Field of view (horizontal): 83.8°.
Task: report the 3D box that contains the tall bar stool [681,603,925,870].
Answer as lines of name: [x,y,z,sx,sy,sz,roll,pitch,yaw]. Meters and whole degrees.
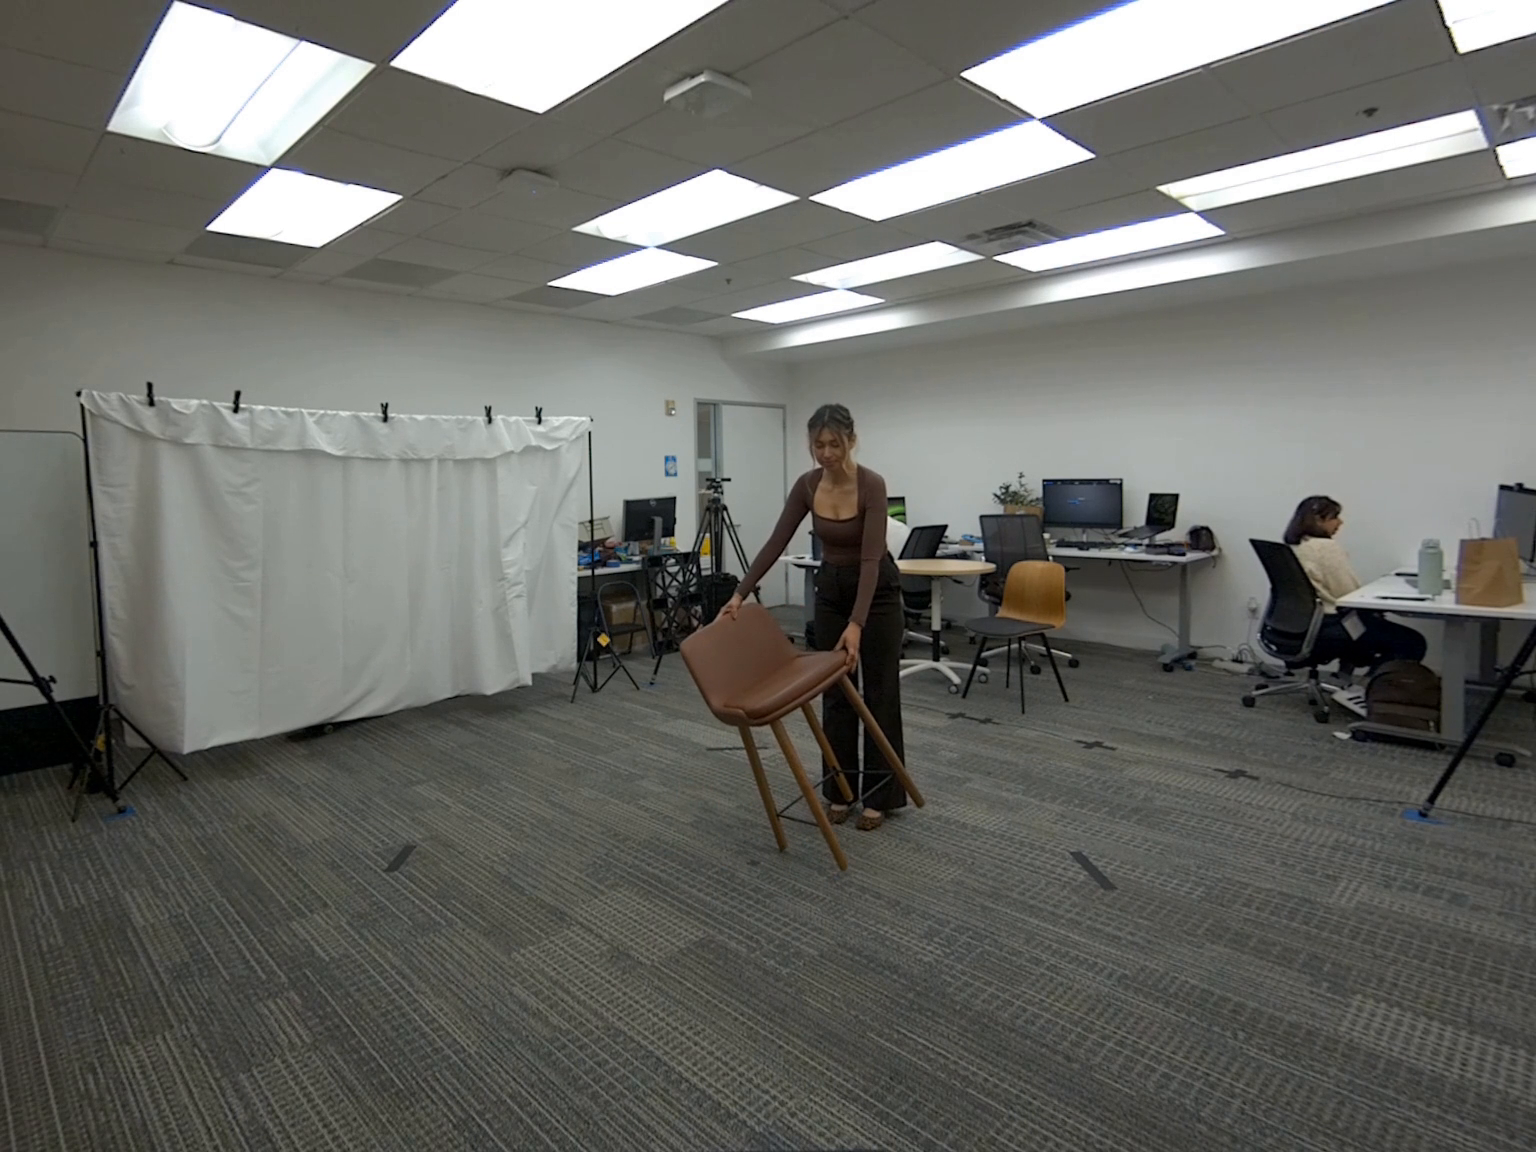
tall bar stool: [0.101,0.532,3.100,0.451,0.891,0.473,-26,-1,-29]
